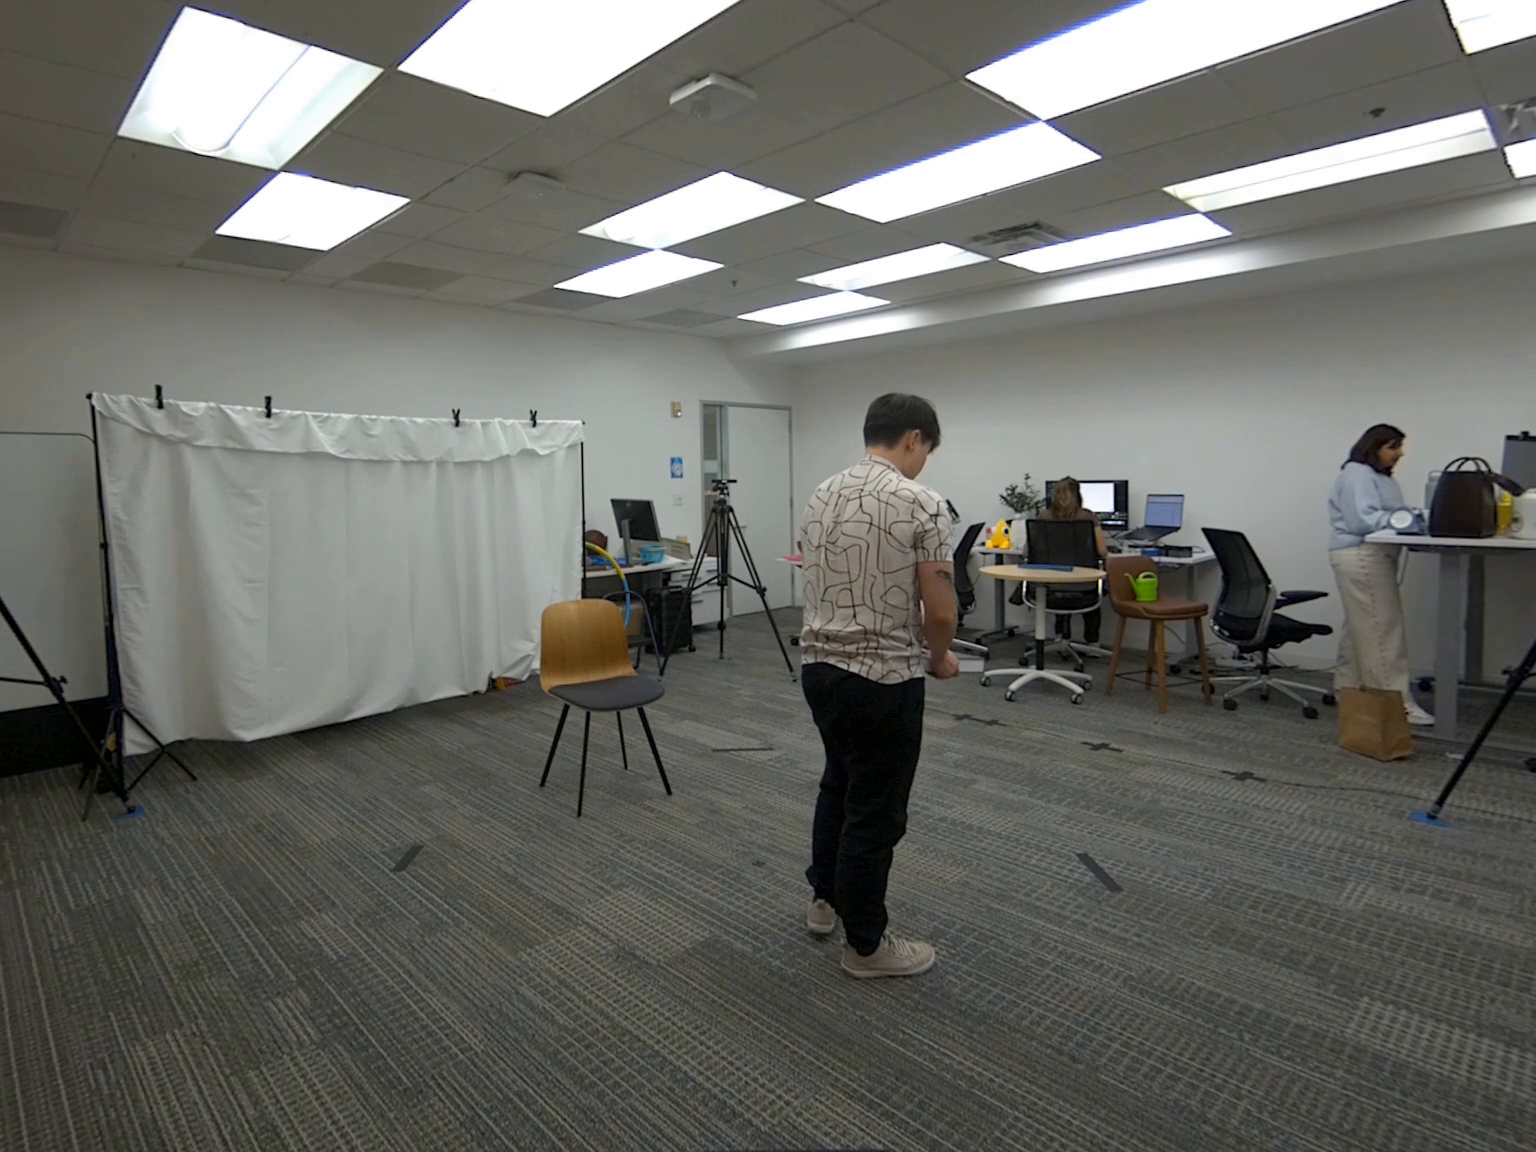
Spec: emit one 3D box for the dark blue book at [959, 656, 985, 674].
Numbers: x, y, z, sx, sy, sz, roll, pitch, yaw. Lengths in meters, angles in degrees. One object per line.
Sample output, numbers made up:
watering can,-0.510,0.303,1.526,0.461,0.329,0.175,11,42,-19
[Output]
dark blue book,0.521,0.258,2.576,0.238,0.045,0.168,2,4,-35
